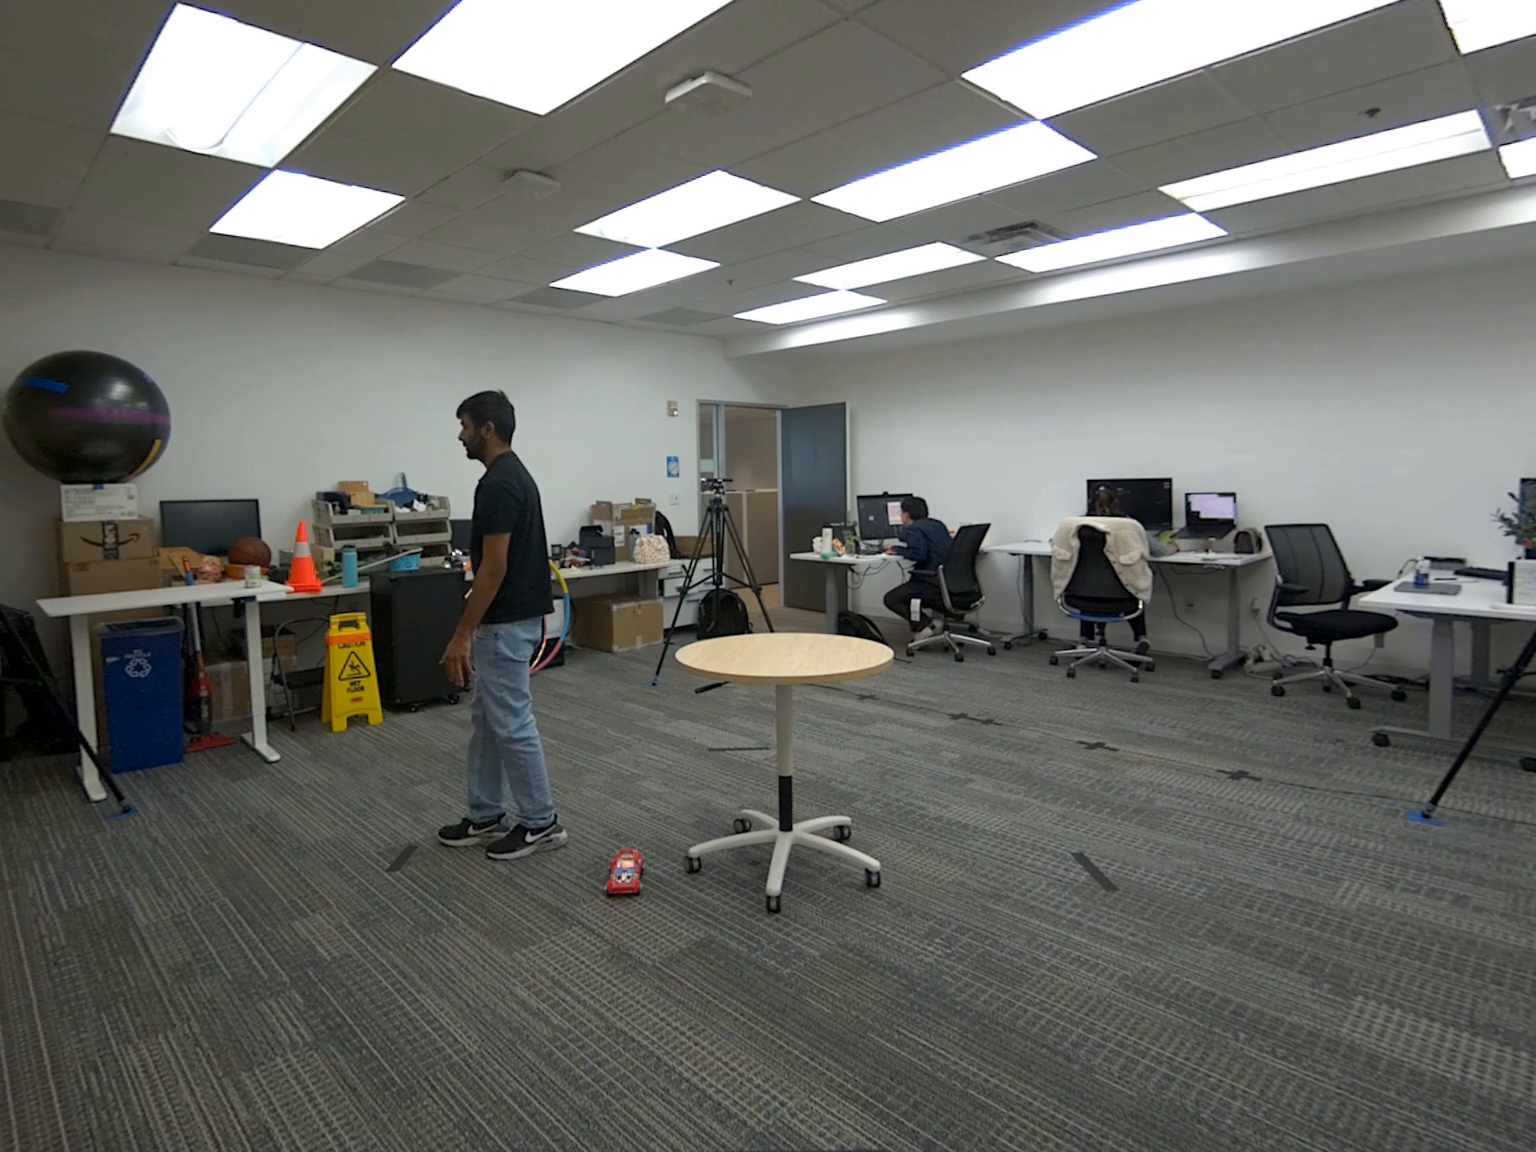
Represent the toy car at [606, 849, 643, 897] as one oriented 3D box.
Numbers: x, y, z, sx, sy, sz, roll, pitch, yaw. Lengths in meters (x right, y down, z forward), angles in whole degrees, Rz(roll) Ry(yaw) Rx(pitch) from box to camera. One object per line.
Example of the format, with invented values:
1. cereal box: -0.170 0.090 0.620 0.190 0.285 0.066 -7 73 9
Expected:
1. toy car: -0.498 1.031 2.974 0.130 0.082 0.259 0 16 -4
